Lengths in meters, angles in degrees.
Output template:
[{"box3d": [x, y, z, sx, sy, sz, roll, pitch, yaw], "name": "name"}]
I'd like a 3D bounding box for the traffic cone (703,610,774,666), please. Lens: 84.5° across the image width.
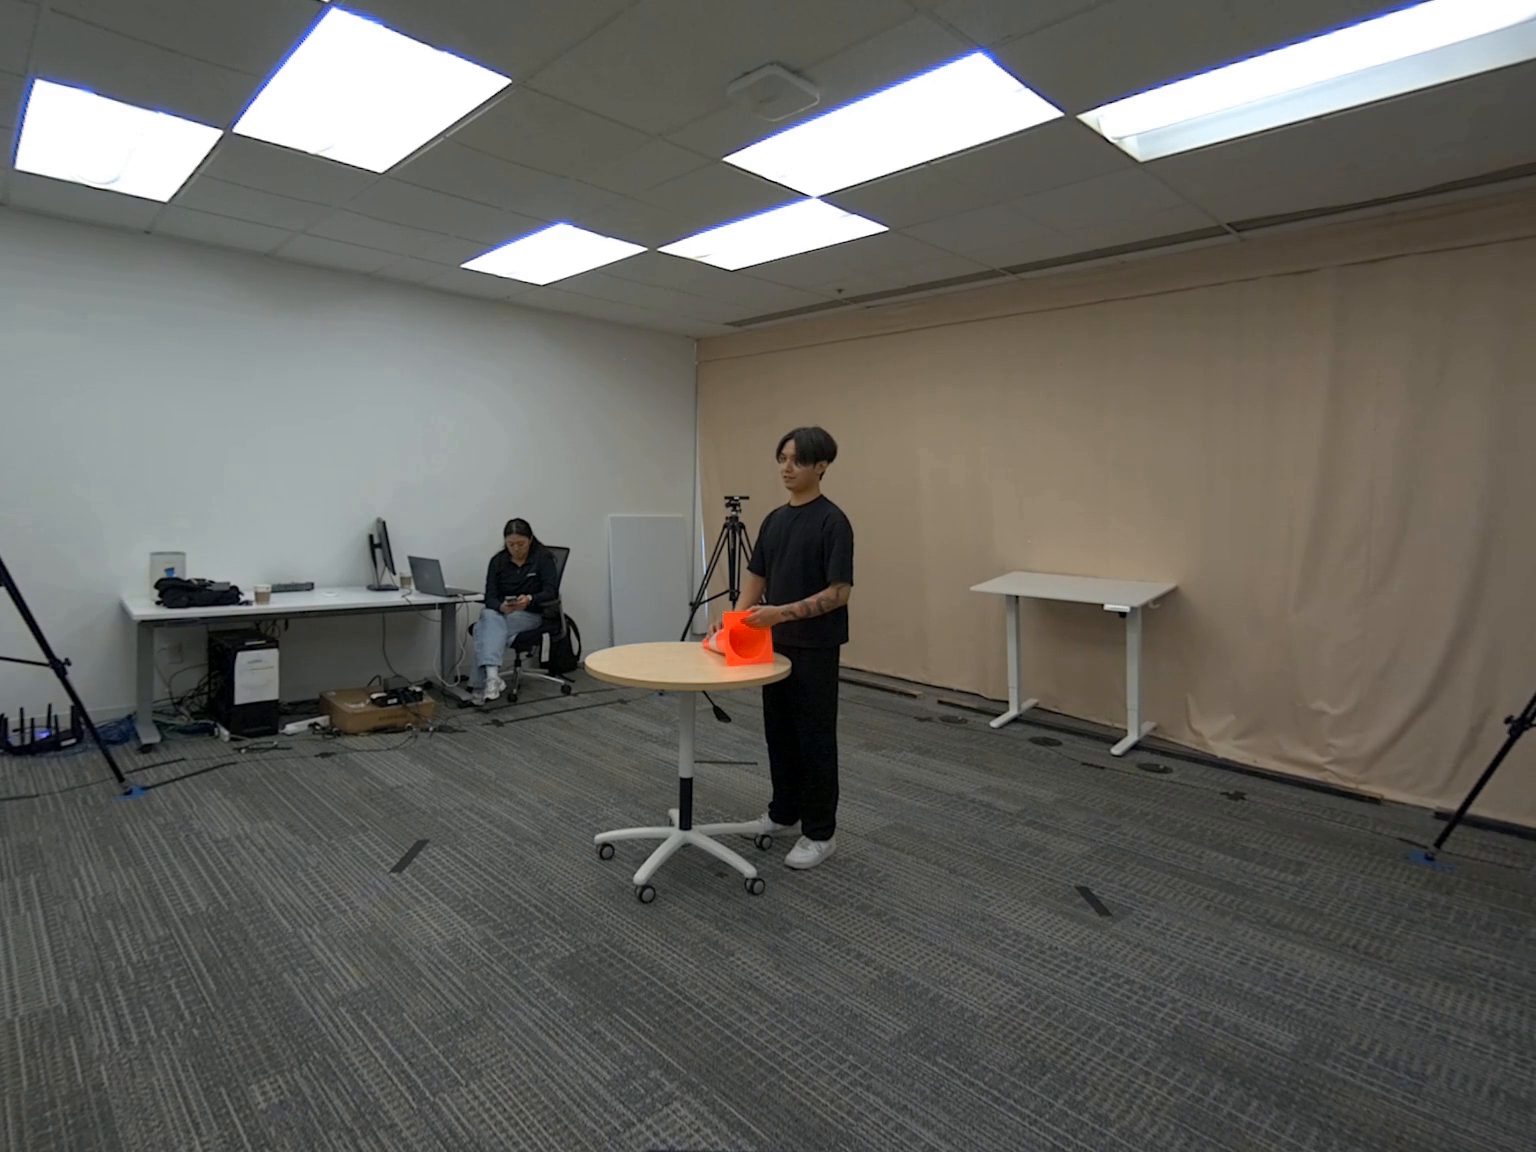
[{"box3d": [-0.172, 0.255, 3.257, 0.201, 0.204, 0.389, 0, -6, -28], "name": "traffic cone"}]
